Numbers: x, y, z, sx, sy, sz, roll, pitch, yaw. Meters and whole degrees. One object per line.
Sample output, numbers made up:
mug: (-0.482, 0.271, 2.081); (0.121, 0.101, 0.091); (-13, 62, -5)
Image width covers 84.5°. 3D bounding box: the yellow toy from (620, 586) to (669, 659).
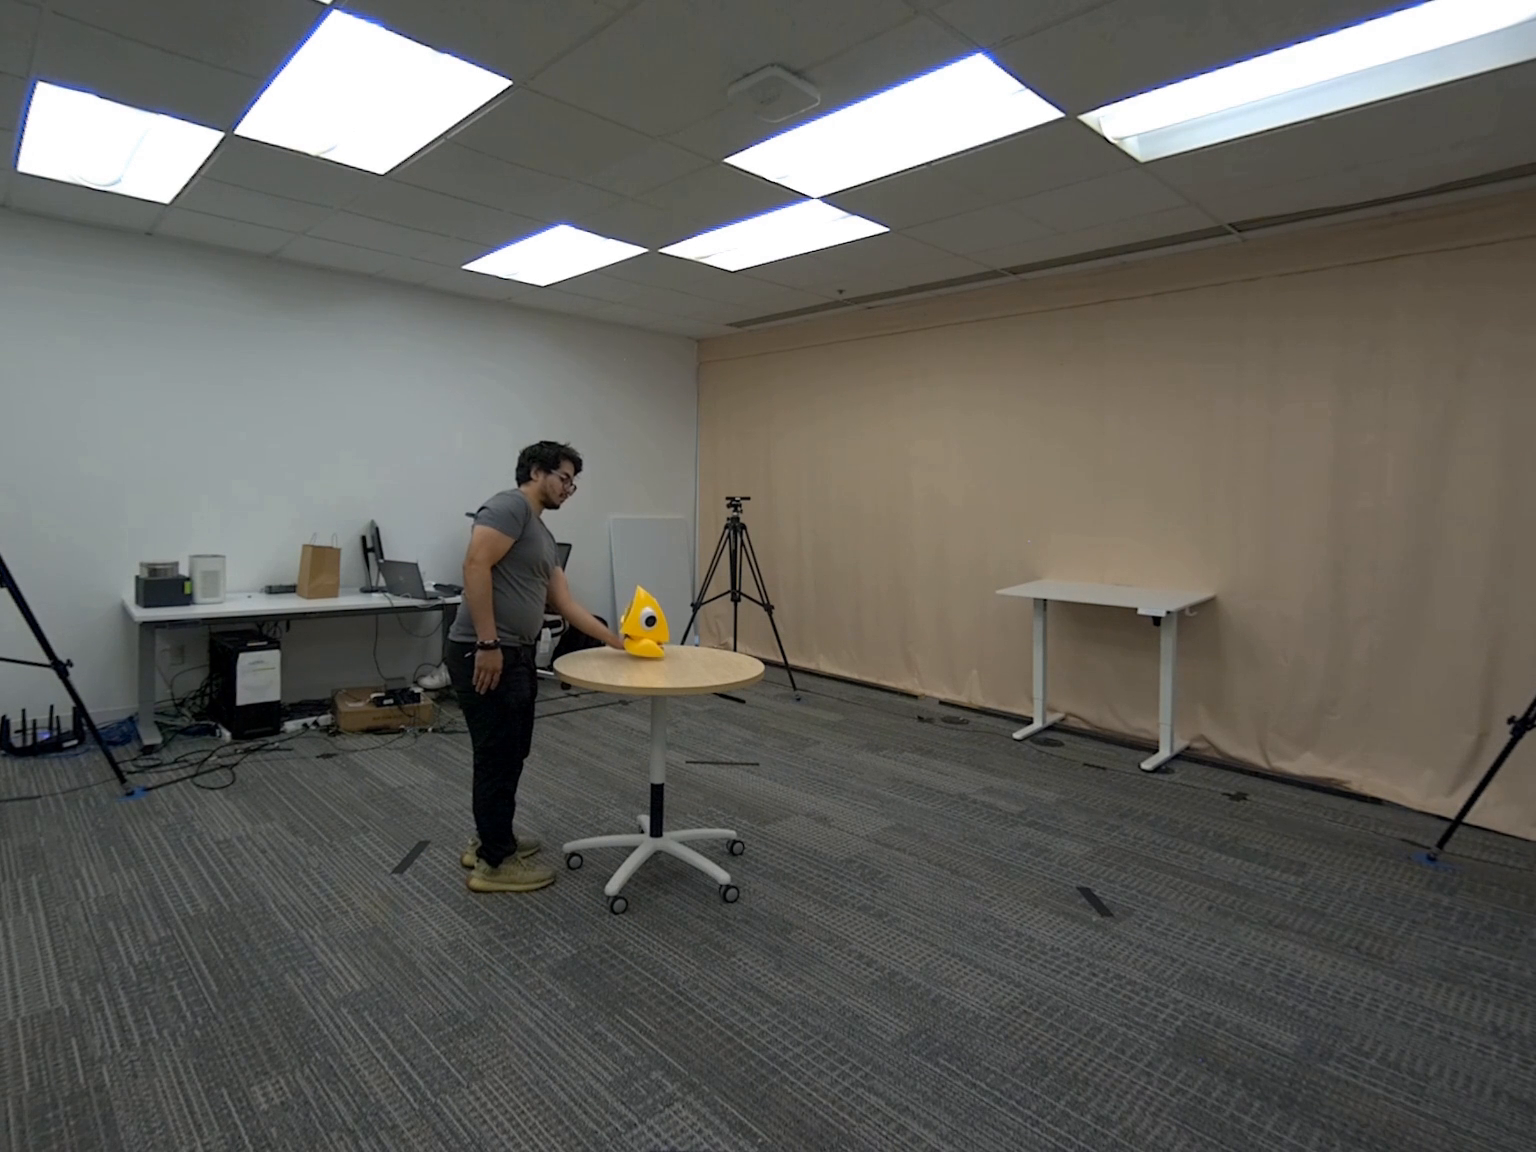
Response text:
yellow toy: (-0.457, 0.152, 3.153); (0.192, 0.228, 0.208); (11, 19, -6)
